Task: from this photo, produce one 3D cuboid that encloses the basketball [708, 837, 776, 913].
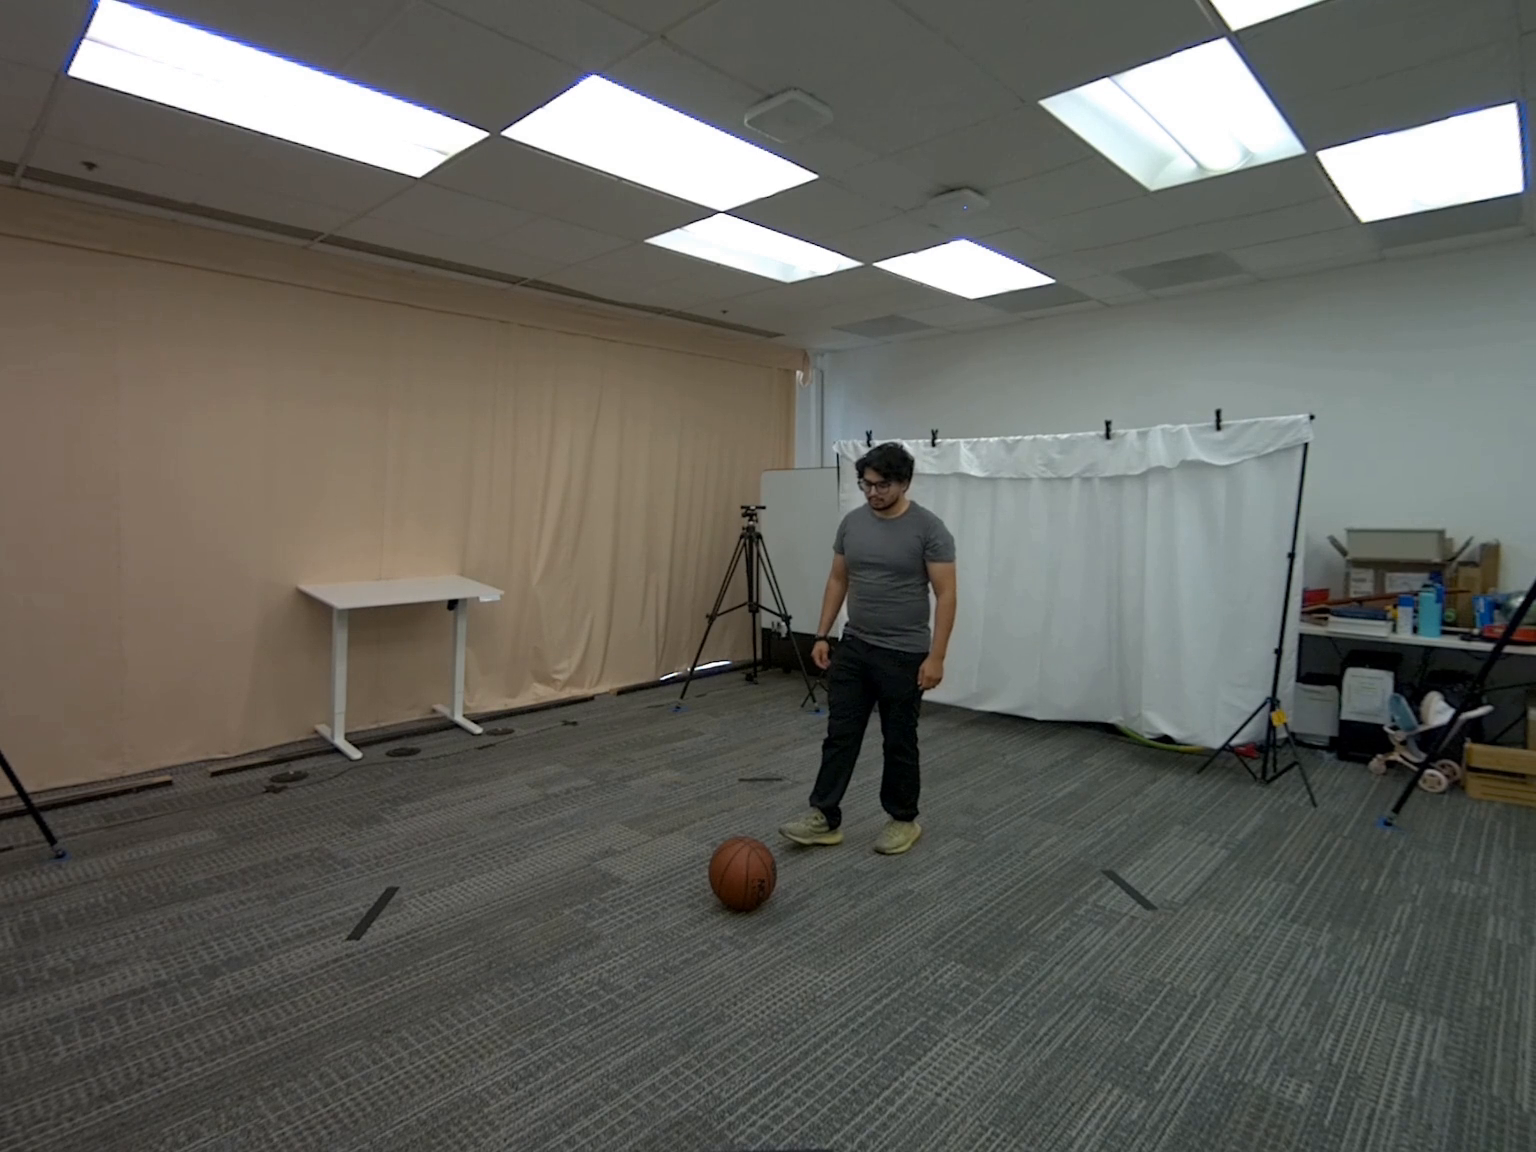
[{"bbox_3d":[-0.085,1.025,2.925,0.236,0.235,0.237,0,4,-2],"label":"basketball"}]
